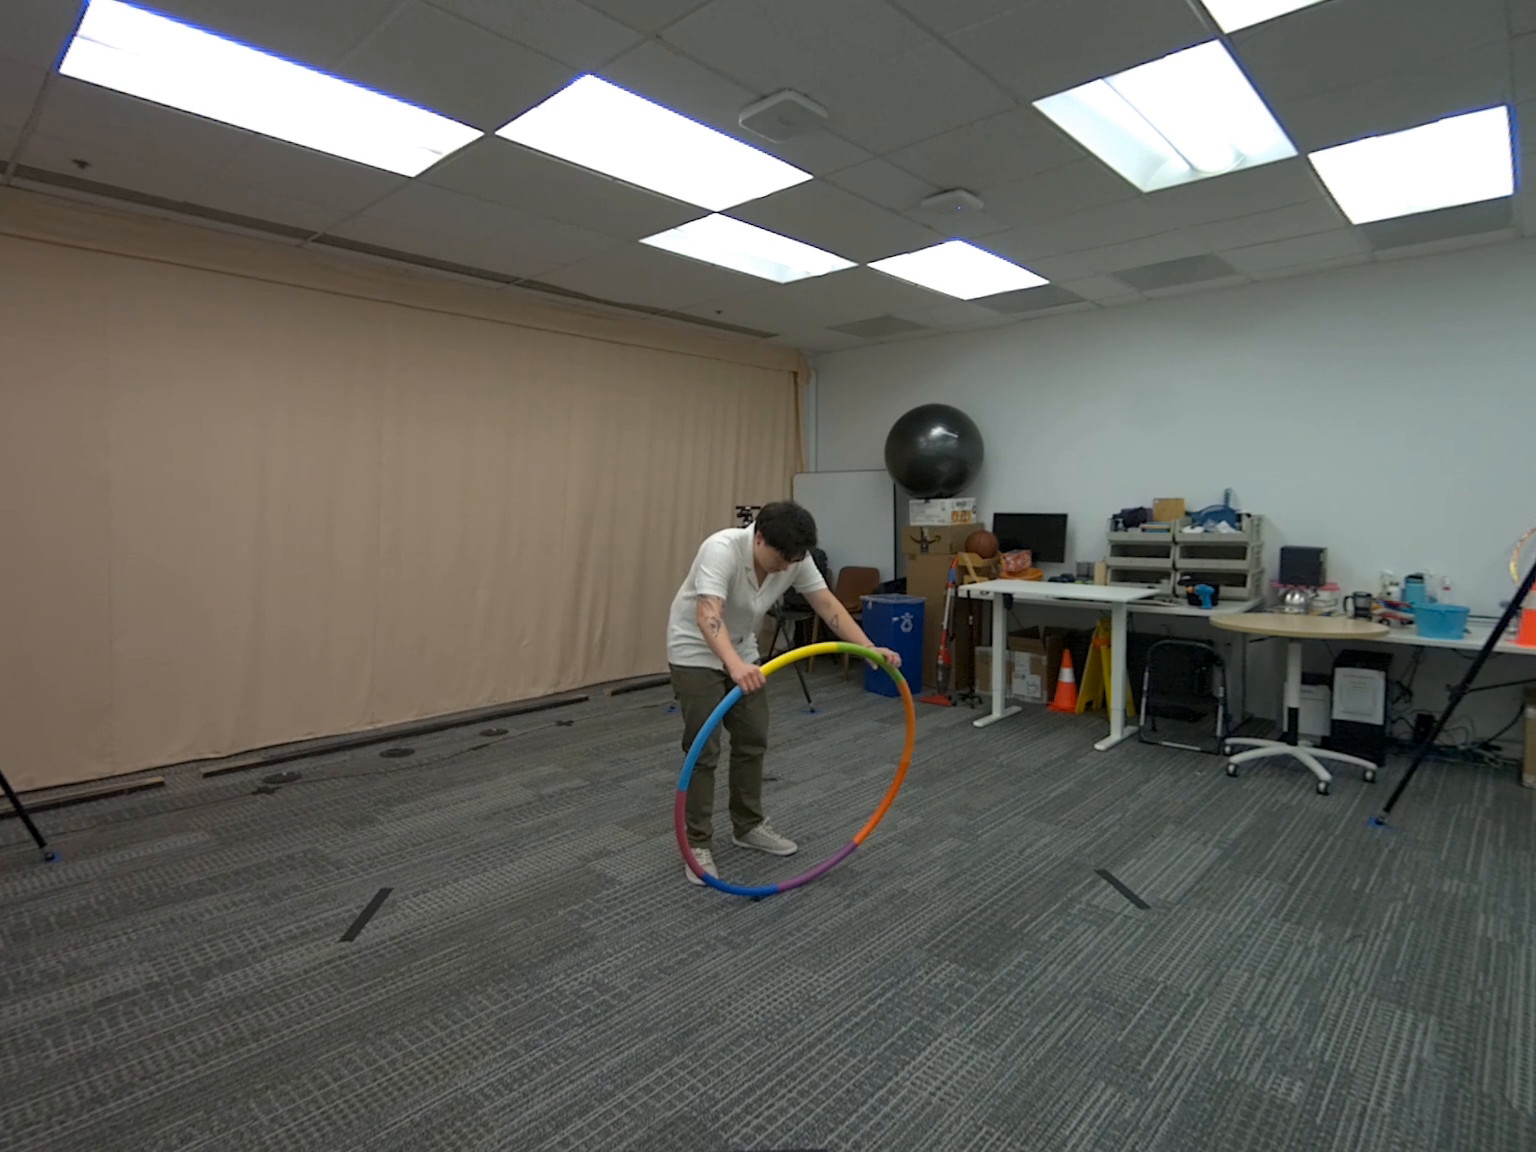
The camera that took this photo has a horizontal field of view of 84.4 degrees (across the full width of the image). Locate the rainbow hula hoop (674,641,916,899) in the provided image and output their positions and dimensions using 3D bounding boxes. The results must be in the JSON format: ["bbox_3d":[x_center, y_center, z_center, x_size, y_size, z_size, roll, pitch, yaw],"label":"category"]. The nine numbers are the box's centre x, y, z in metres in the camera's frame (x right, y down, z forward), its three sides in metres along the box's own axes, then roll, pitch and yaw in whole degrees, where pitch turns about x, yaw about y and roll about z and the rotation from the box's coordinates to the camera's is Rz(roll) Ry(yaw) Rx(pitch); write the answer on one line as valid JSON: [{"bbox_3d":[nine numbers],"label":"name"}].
[{"bbox_3d":[0.121,0.686,2.919,0.952,0.971,0.037,-2,20,-32],"label":"rainbow hula hoop"}]
